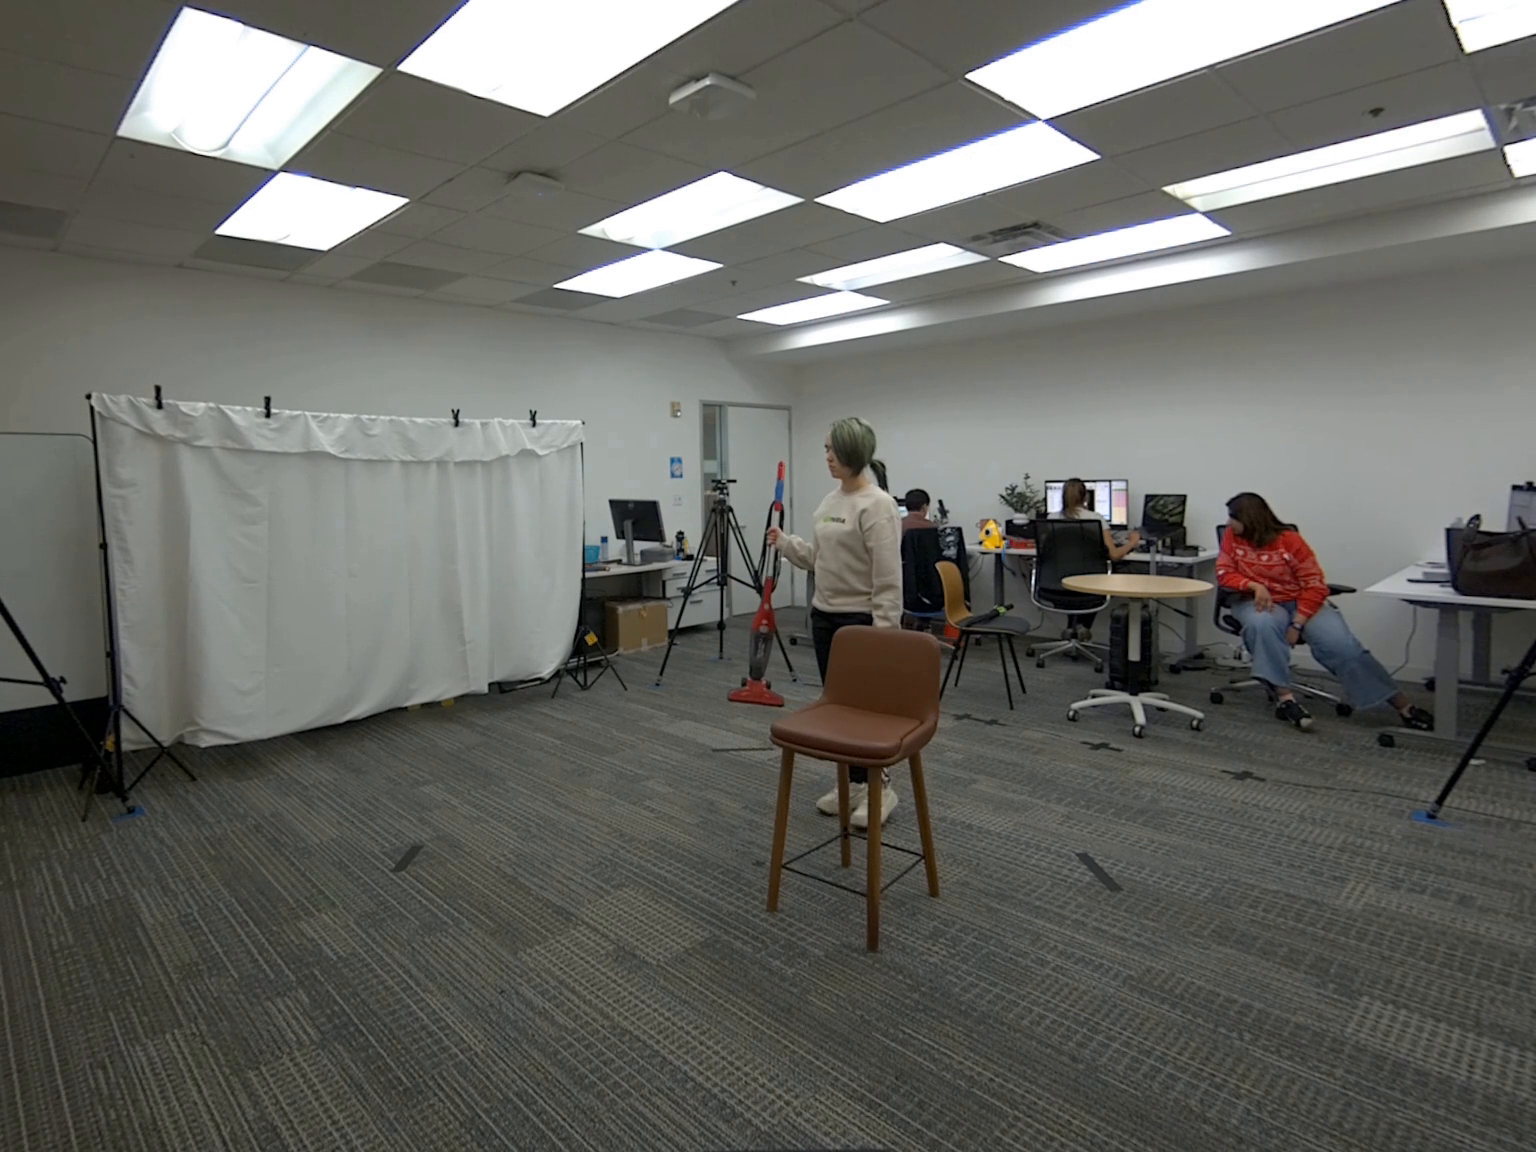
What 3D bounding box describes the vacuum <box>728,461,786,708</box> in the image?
[{"bbox_3d":[0.010,0.010,3.878,0.252,1.054,0.143,6,-6,-2],"label":"vacuum"}]
